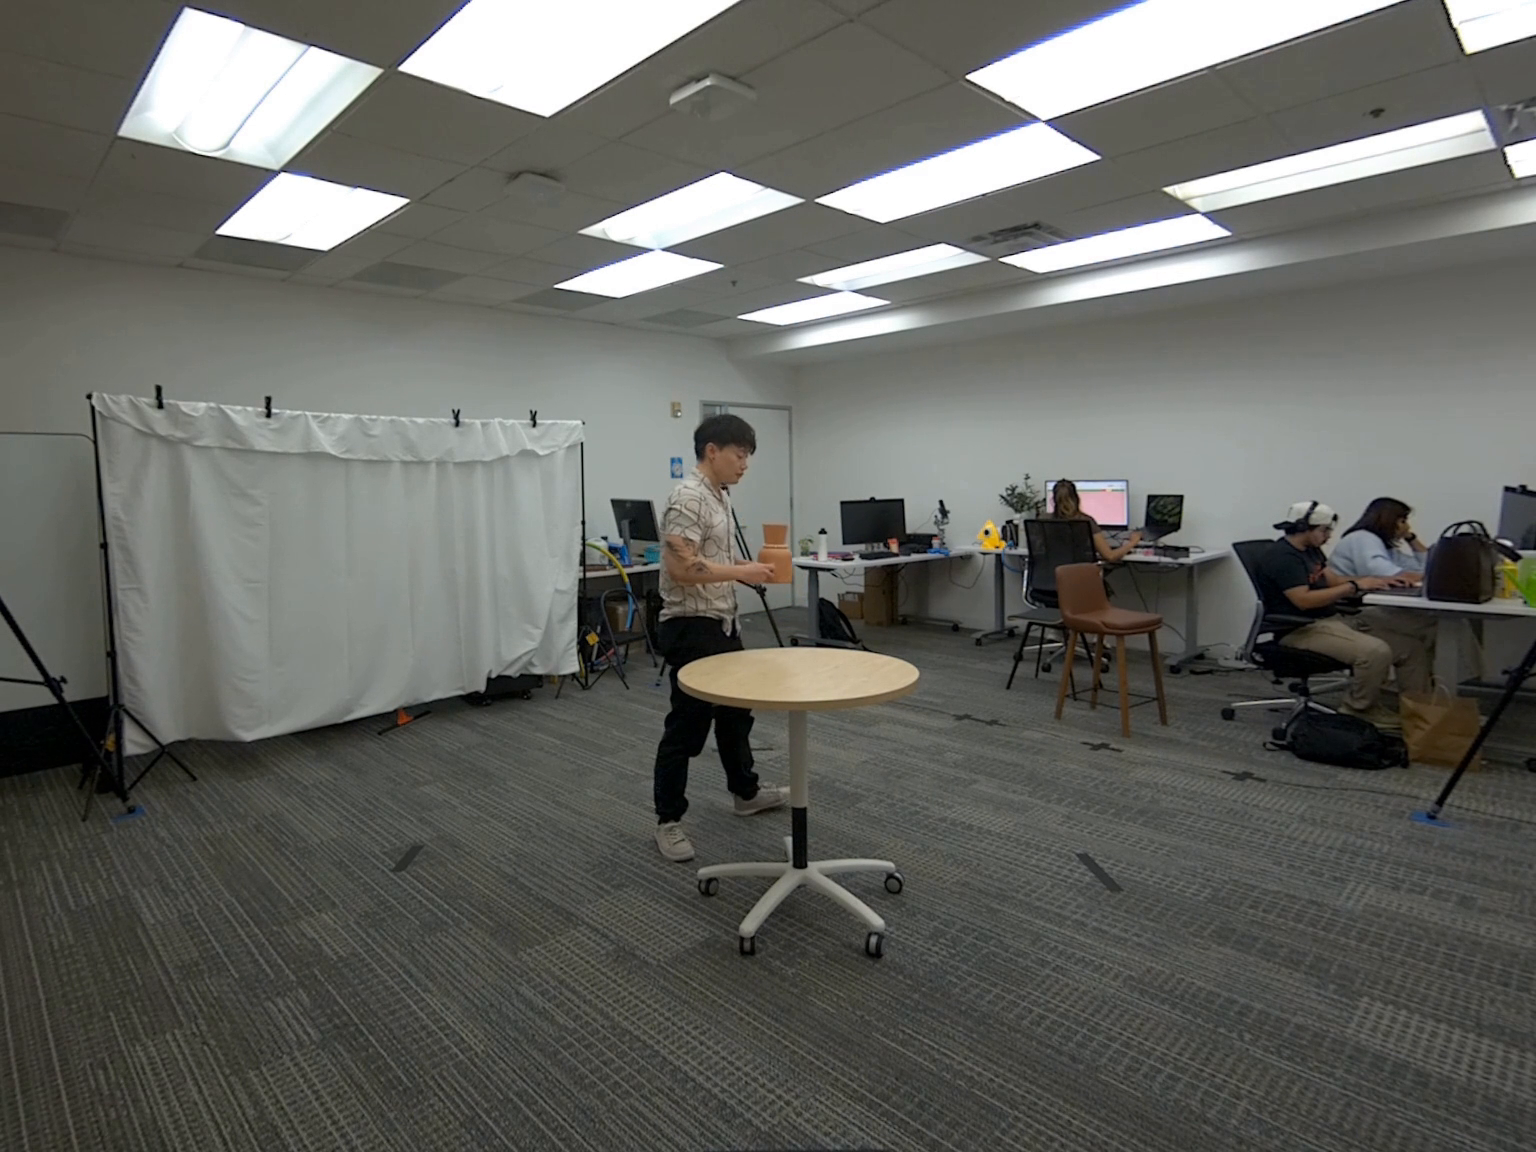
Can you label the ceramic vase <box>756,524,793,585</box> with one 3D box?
[{"bbox_3d":[0.026,-0.089,3.233,0.132,0.219,0.162,1,3,-22],"label":"ceramic vase"}]
